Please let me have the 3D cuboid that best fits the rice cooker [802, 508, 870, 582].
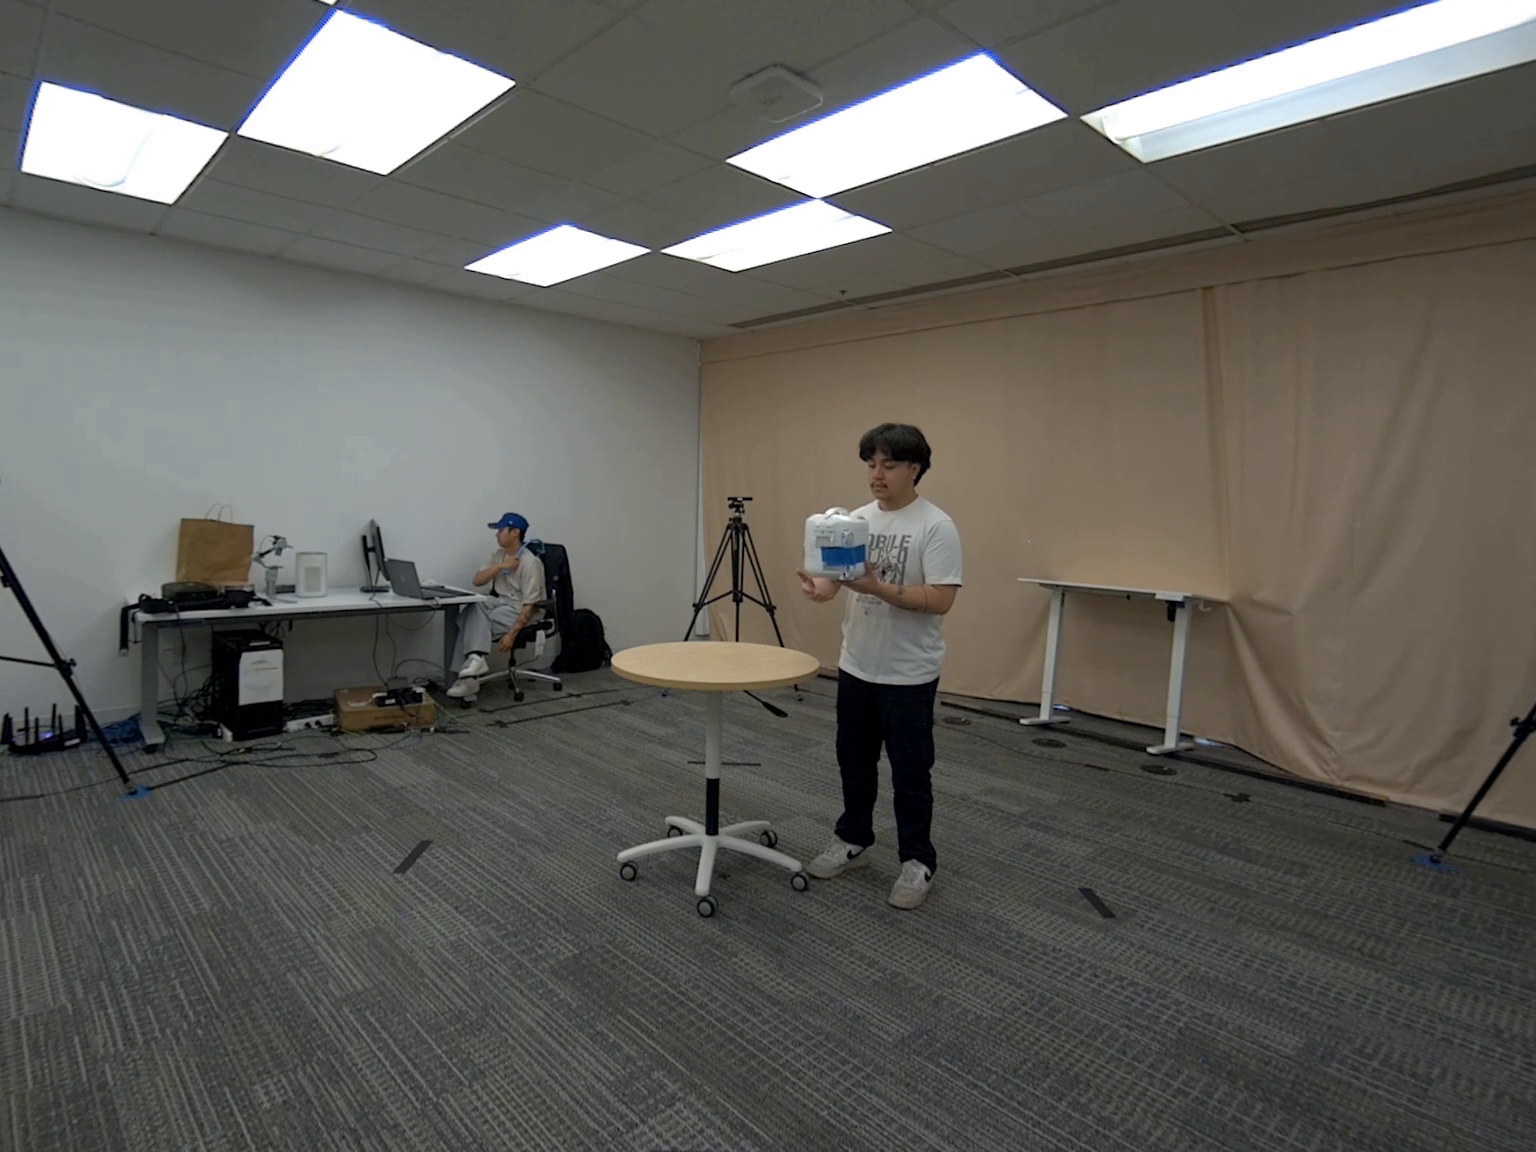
[{"bbox_3d":[0.222,-0.109,2.787,0.222,0.232,0.216,5,5,30],"label":"rice cooker"}]
